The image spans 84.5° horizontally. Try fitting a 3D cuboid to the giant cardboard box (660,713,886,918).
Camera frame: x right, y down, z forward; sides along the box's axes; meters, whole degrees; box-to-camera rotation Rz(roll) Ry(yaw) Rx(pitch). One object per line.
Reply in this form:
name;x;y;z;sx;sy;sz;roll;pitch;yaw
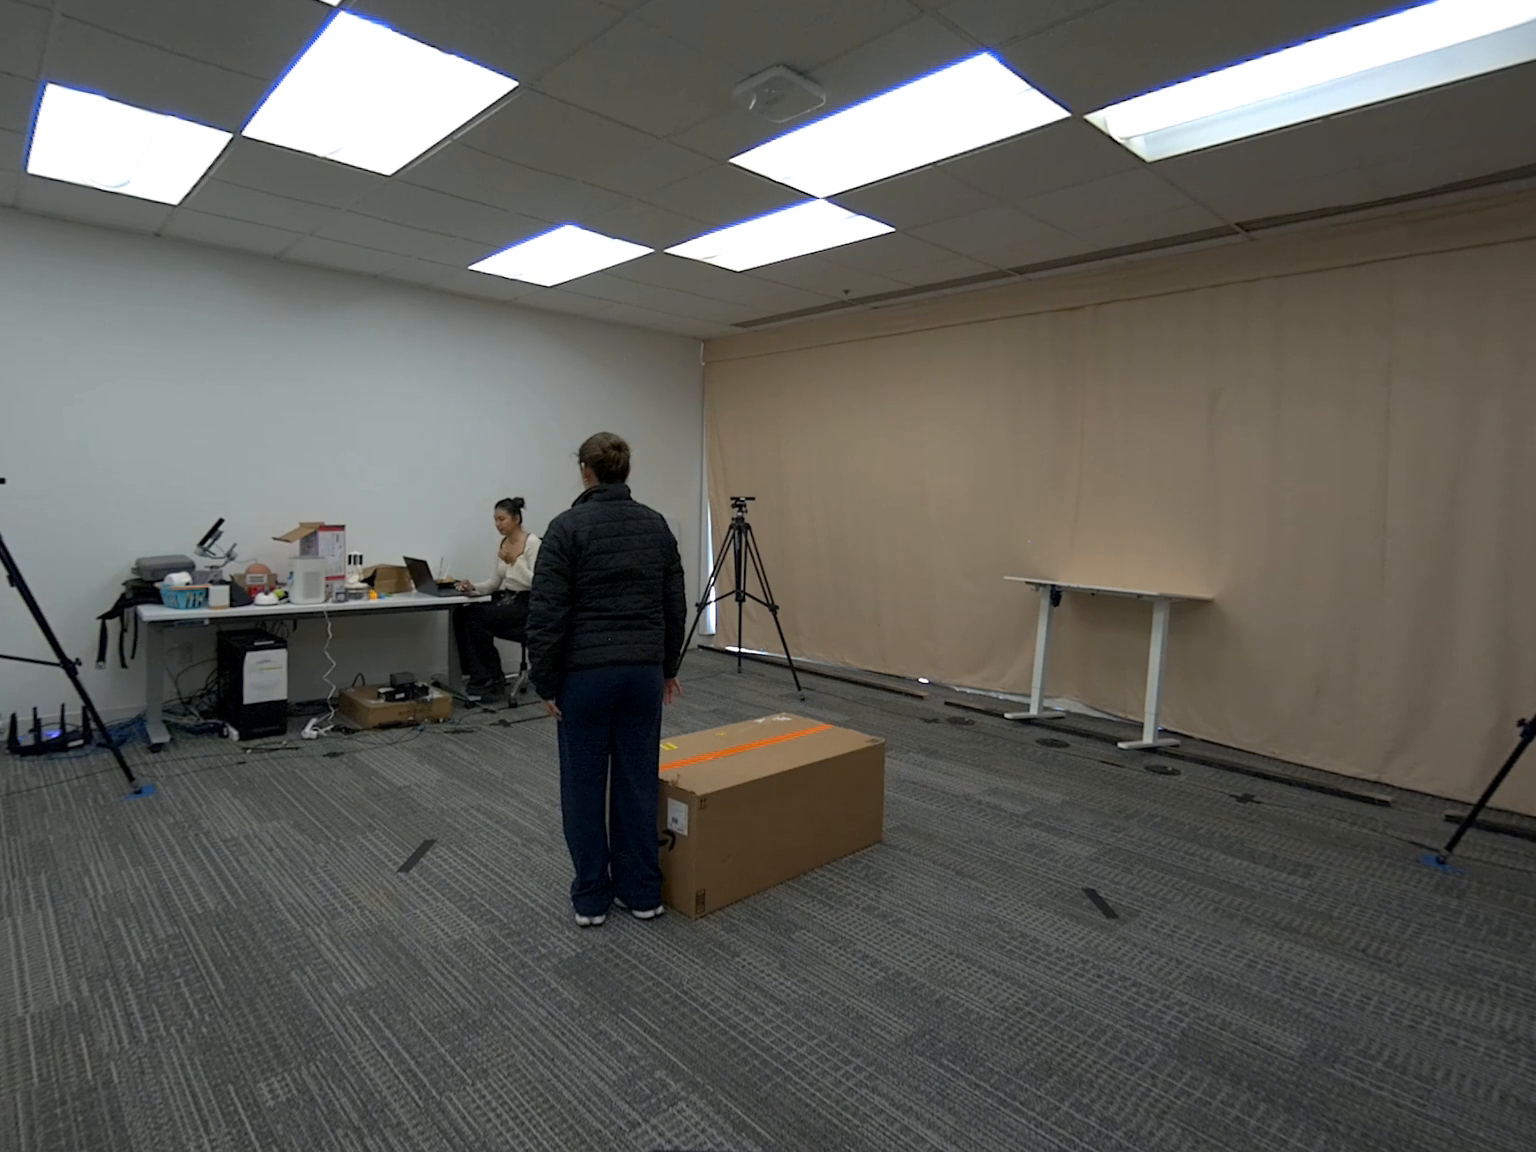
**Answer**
giant cardboard box;-0.090;0.882;3.295;1.003;0.445;0.599;-2;7;-45
